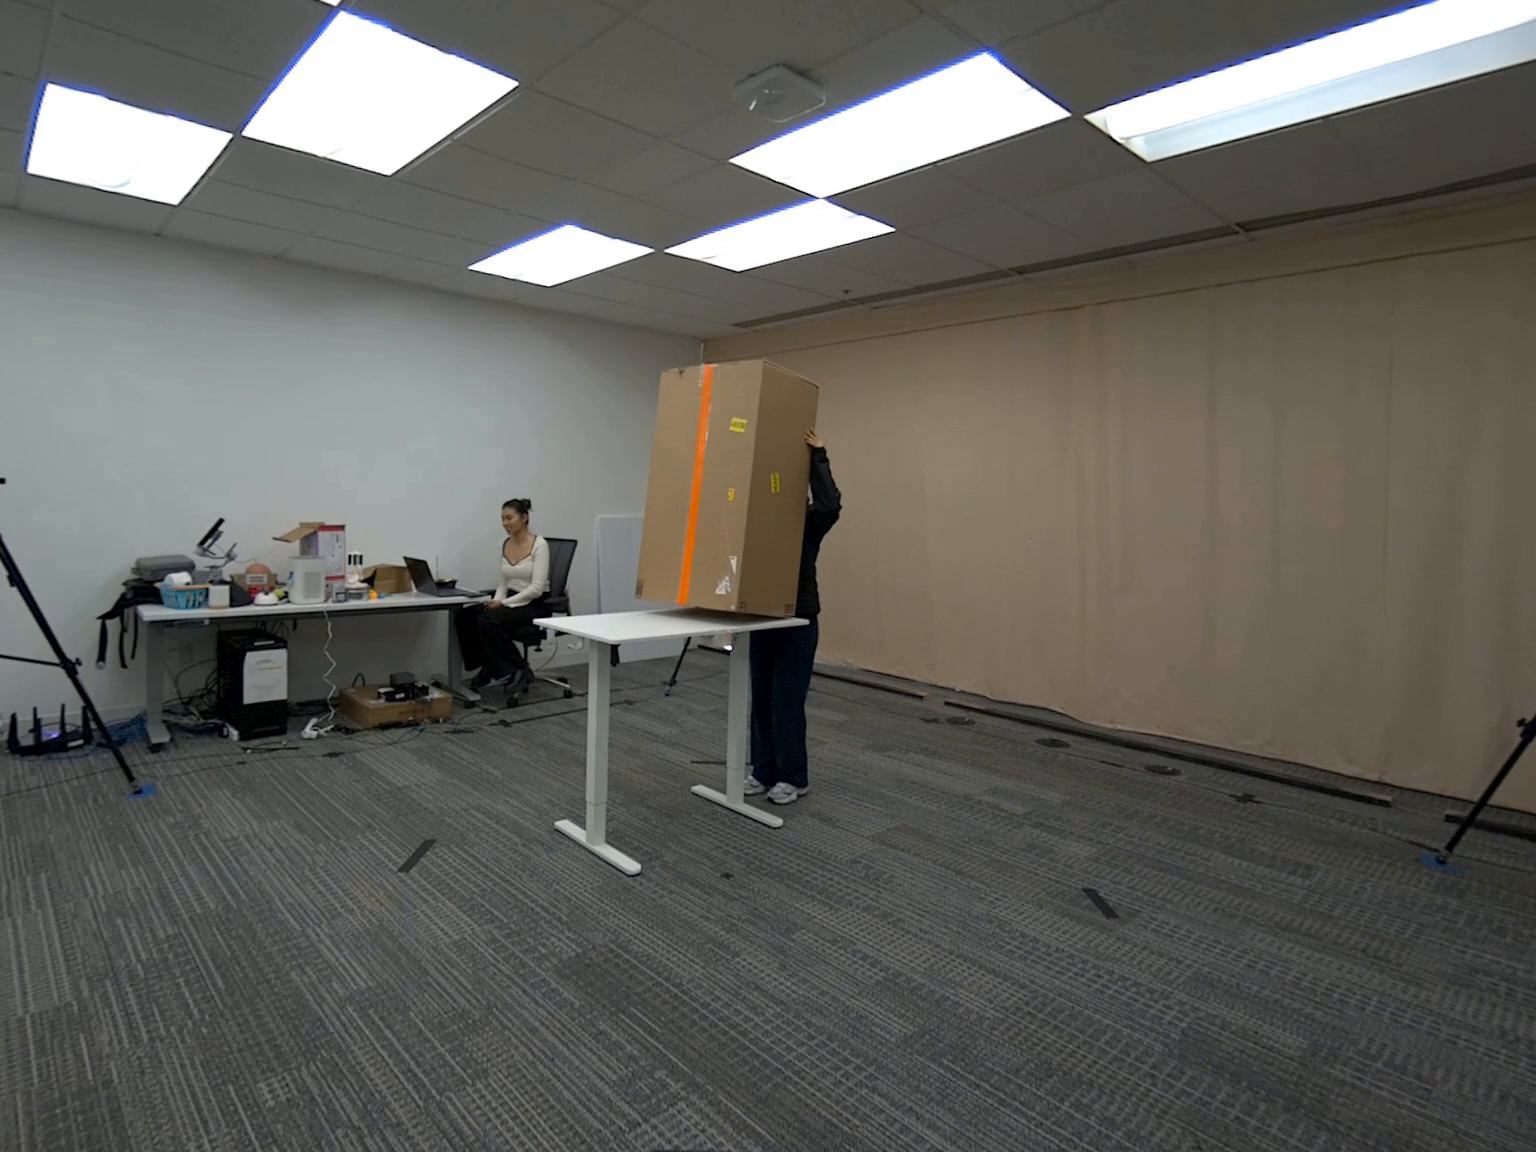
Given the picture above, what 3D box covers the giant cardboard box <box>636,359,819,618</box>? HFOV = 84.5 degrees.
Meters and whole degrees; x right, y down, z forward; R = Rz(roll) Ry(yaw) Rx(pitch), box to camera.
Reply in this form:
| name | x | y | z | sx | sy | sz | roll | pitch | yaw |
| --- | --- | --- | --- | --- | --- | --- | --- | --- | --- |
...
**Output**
| name | x | y | z | sx | sy | sz | roll | pitch | yaw |
| --- | --- | --- | --- | --- | --- | --- | --- | --- | --- |
| giant cardboard box | -0.183 | -0.363 | 3.680 | 0.598 | 1.029 | 0.435 | 4 | -3 | 38 |
